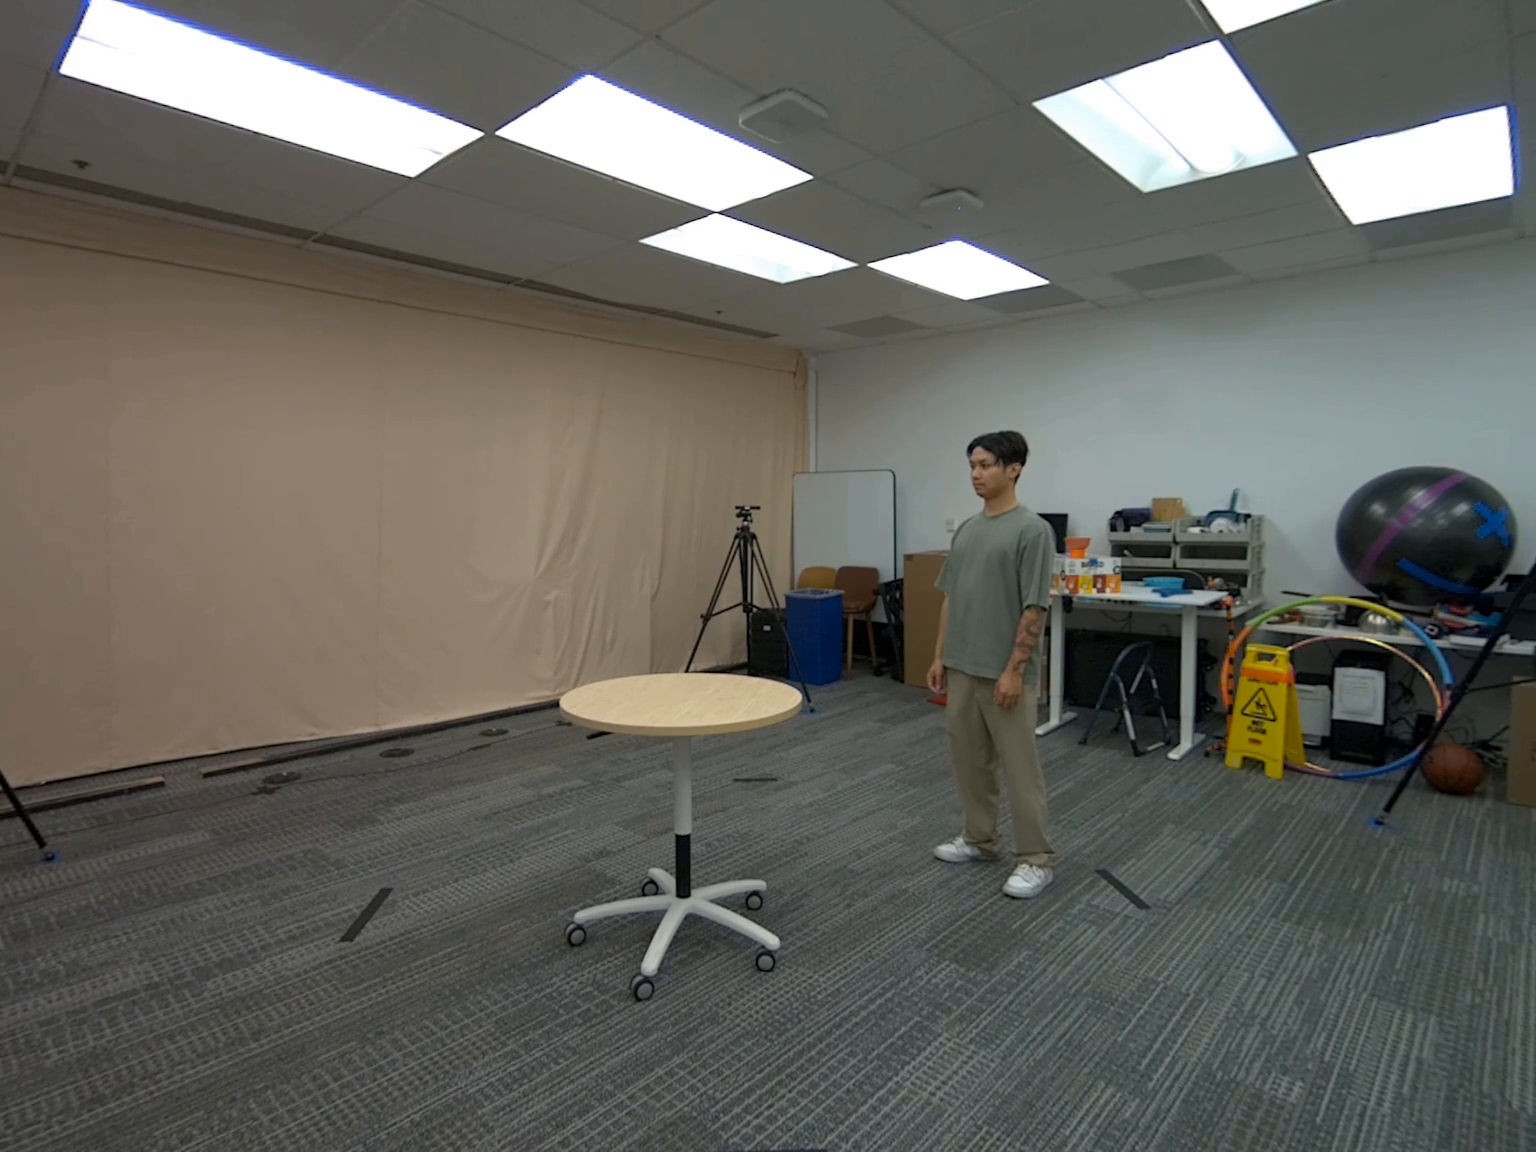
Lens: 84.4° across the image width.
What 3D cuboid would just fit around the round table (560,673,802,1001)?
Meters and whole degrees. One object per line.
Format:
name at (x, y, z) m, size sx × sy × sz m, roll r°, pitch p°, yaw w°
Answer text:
round table at (-0.262, 0.776, 2.681) m, size 0.784 × 0.785 × 0.788 m, roll -1°, pitch 4°, yaw -2°
